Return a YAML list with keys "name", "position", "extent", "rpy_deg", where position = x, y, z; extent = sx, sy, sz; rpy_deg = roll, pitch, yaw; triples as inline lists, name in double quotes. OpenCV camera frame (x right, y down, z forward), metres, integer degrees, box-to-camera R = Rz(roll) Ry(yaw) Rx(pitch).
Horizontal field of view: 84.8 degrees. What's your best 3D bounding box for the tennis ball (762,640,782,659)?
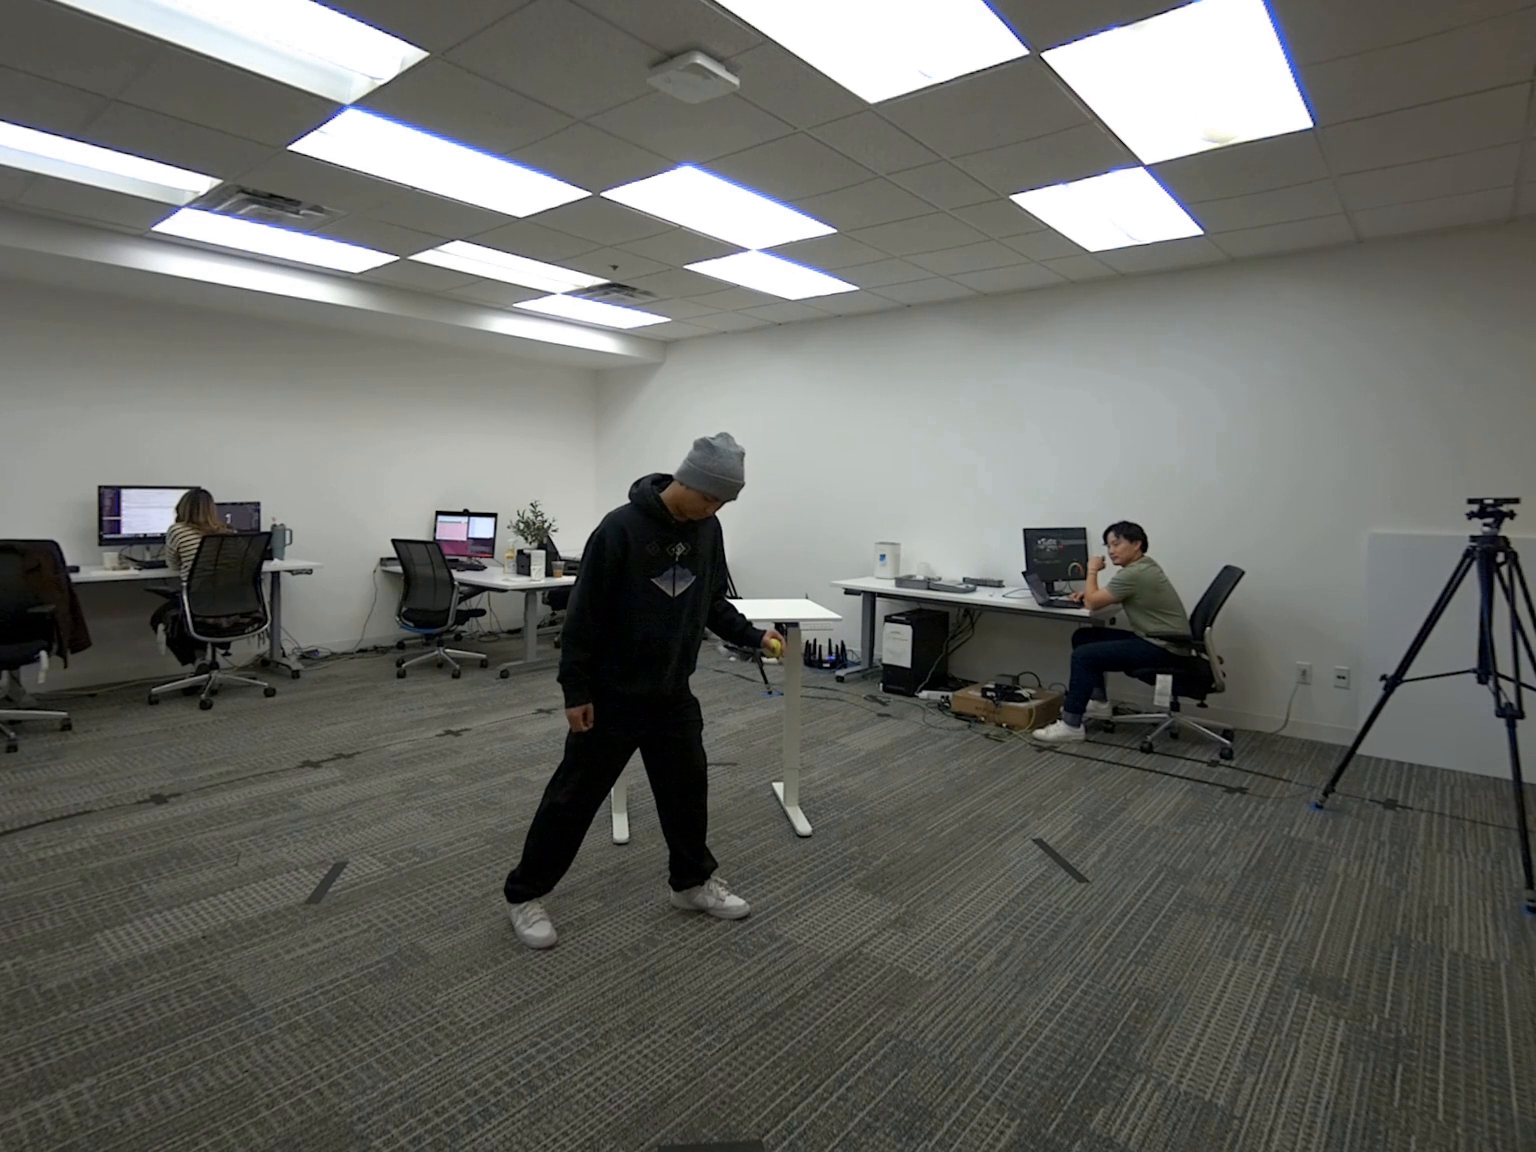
- name: "tennis ball"
  position: [0.005, 0.220, 2.859]
  extent: [0.066, 0.066, 0.067]
  rpy_deg: [1, 4, -2]
